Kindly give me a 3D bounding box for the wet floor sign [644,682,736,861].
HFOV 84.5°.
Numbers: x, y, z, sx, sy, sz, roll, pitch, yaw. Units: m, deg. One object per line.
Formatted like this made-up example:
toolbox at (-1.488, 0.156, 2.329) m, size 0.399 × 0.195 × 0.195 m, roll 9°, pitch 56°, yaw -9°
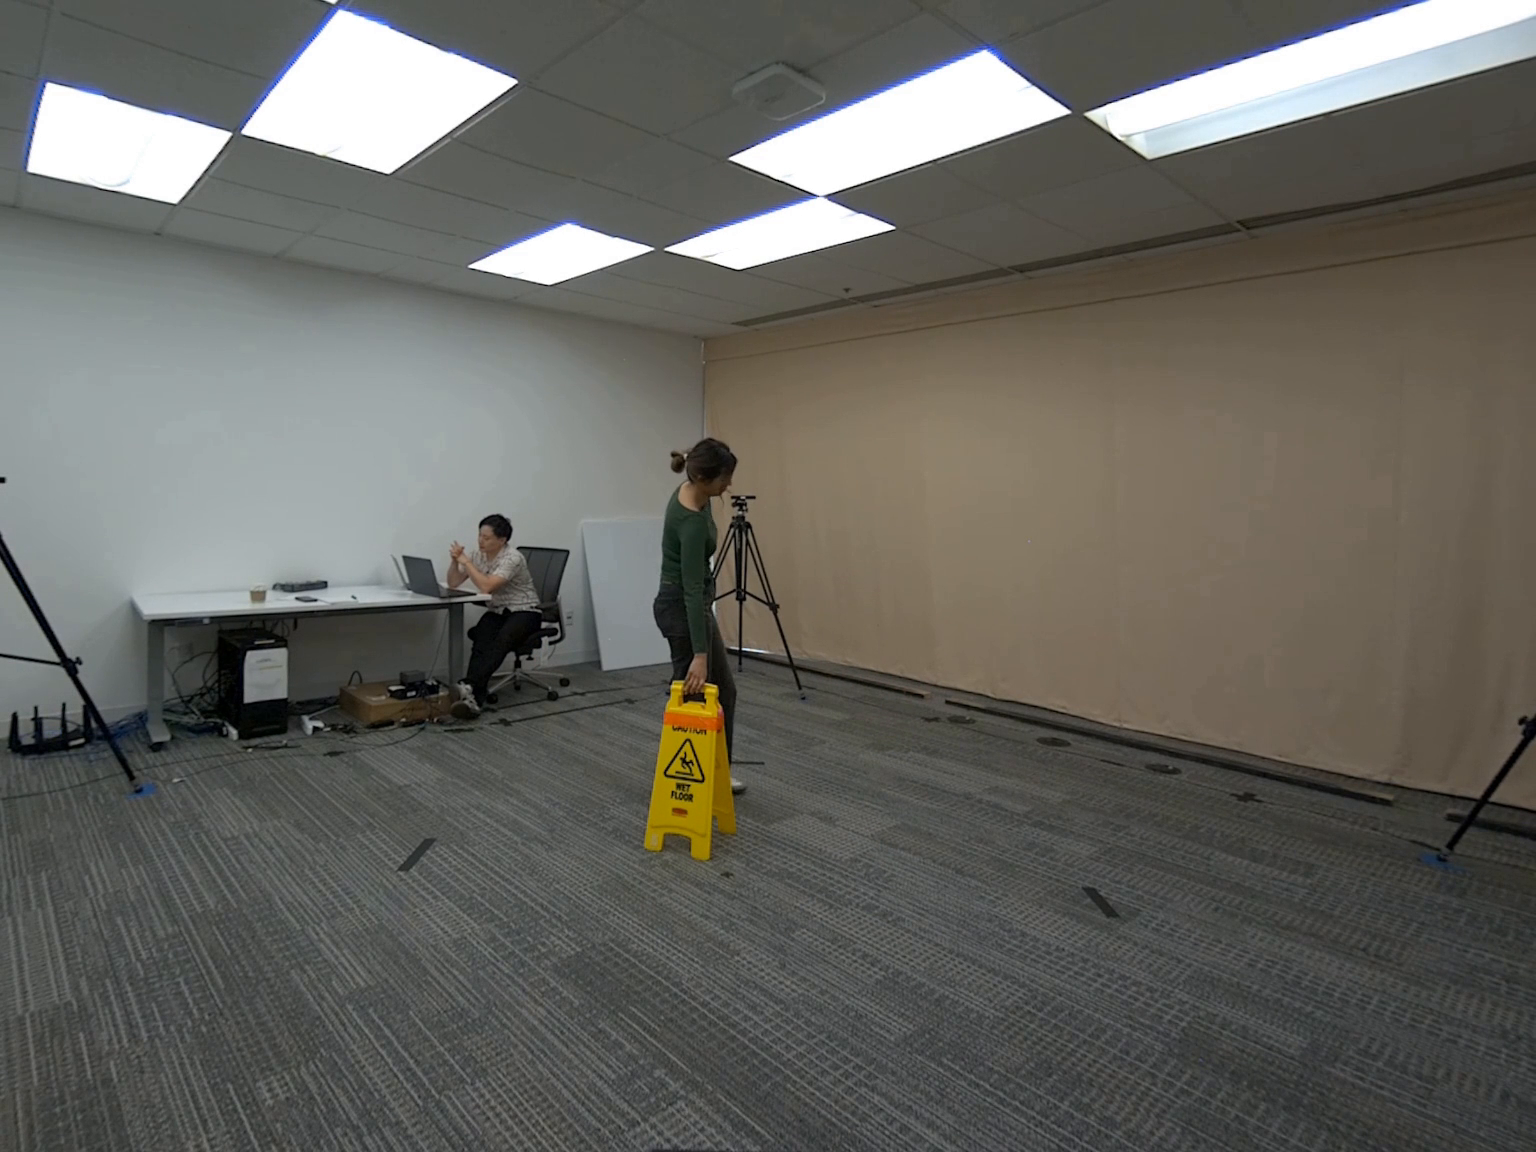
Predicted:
wet floor sign at (-0.316, 0.753, 3.386) m, size 0.287 × 0.644 × 0.286 m, roll 1°, pitch 4°, yaw 21°
